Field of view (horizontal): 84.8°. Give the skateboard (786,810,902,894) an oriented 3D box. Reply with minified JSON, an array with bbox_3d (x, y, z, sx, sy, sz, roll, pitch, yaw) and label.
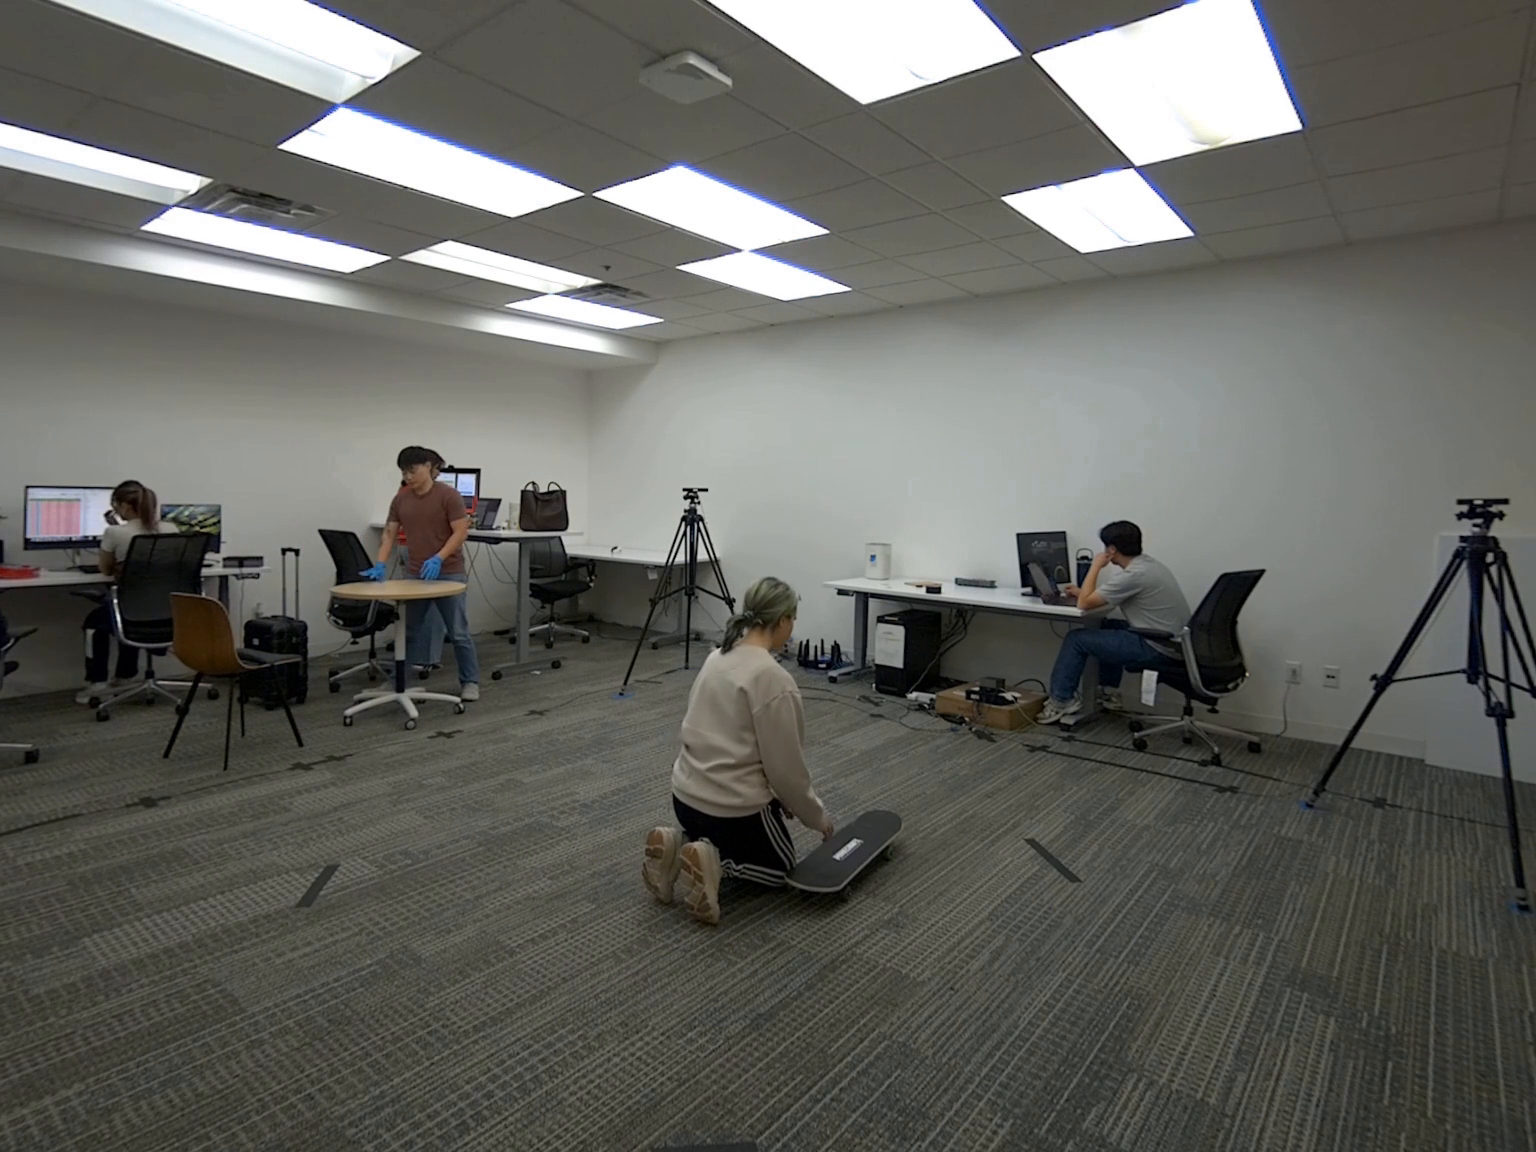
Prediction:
[{"bbox_3d":[0.287,1.025,3.100,0.199,0.110,0.766,4,7,29],"label":"skateboard"}]
